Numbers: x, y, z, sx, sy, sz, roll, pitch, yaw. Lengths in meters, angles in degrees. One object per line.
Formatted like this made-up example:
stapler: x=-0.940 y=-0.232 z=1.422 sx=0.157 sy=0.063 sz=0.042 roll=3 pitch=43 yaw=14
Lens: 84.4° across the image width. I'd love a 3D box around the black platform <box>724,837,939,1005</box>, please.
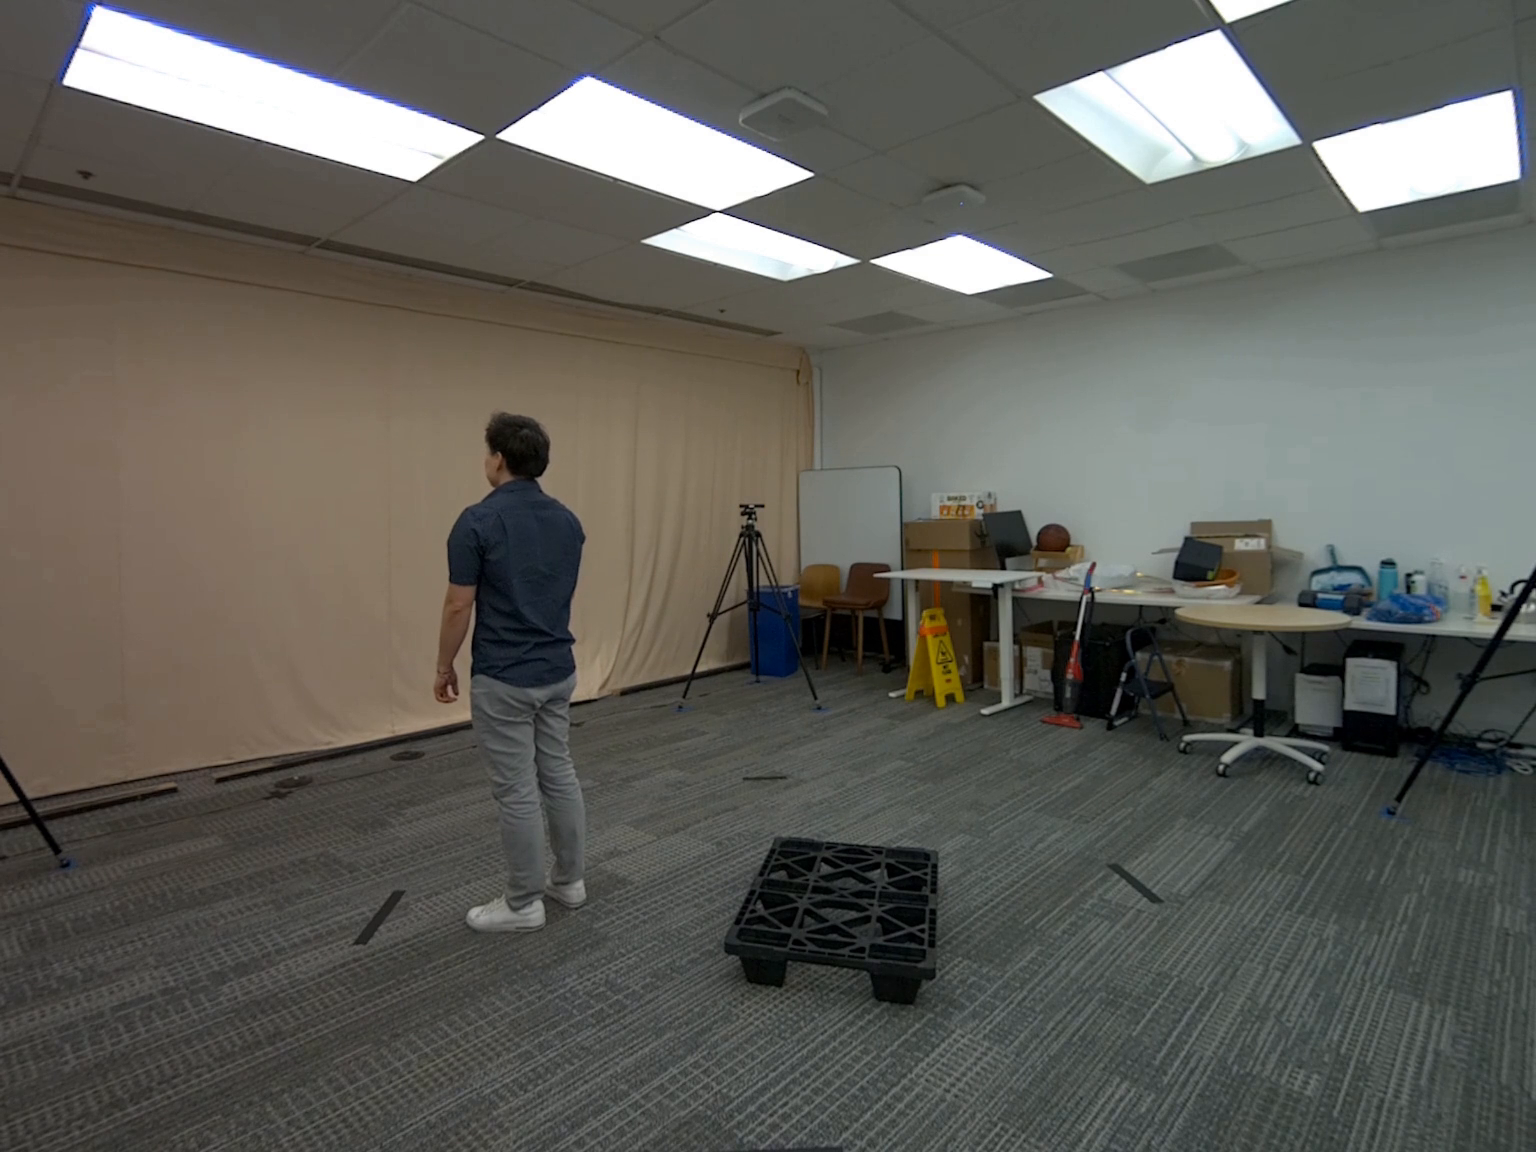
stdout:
black platform: x=0.249 y=1.089 z=2.739 sx=0.614 sy=0.143 sz=0.796 roll=1 pitch=5 yaw=13
